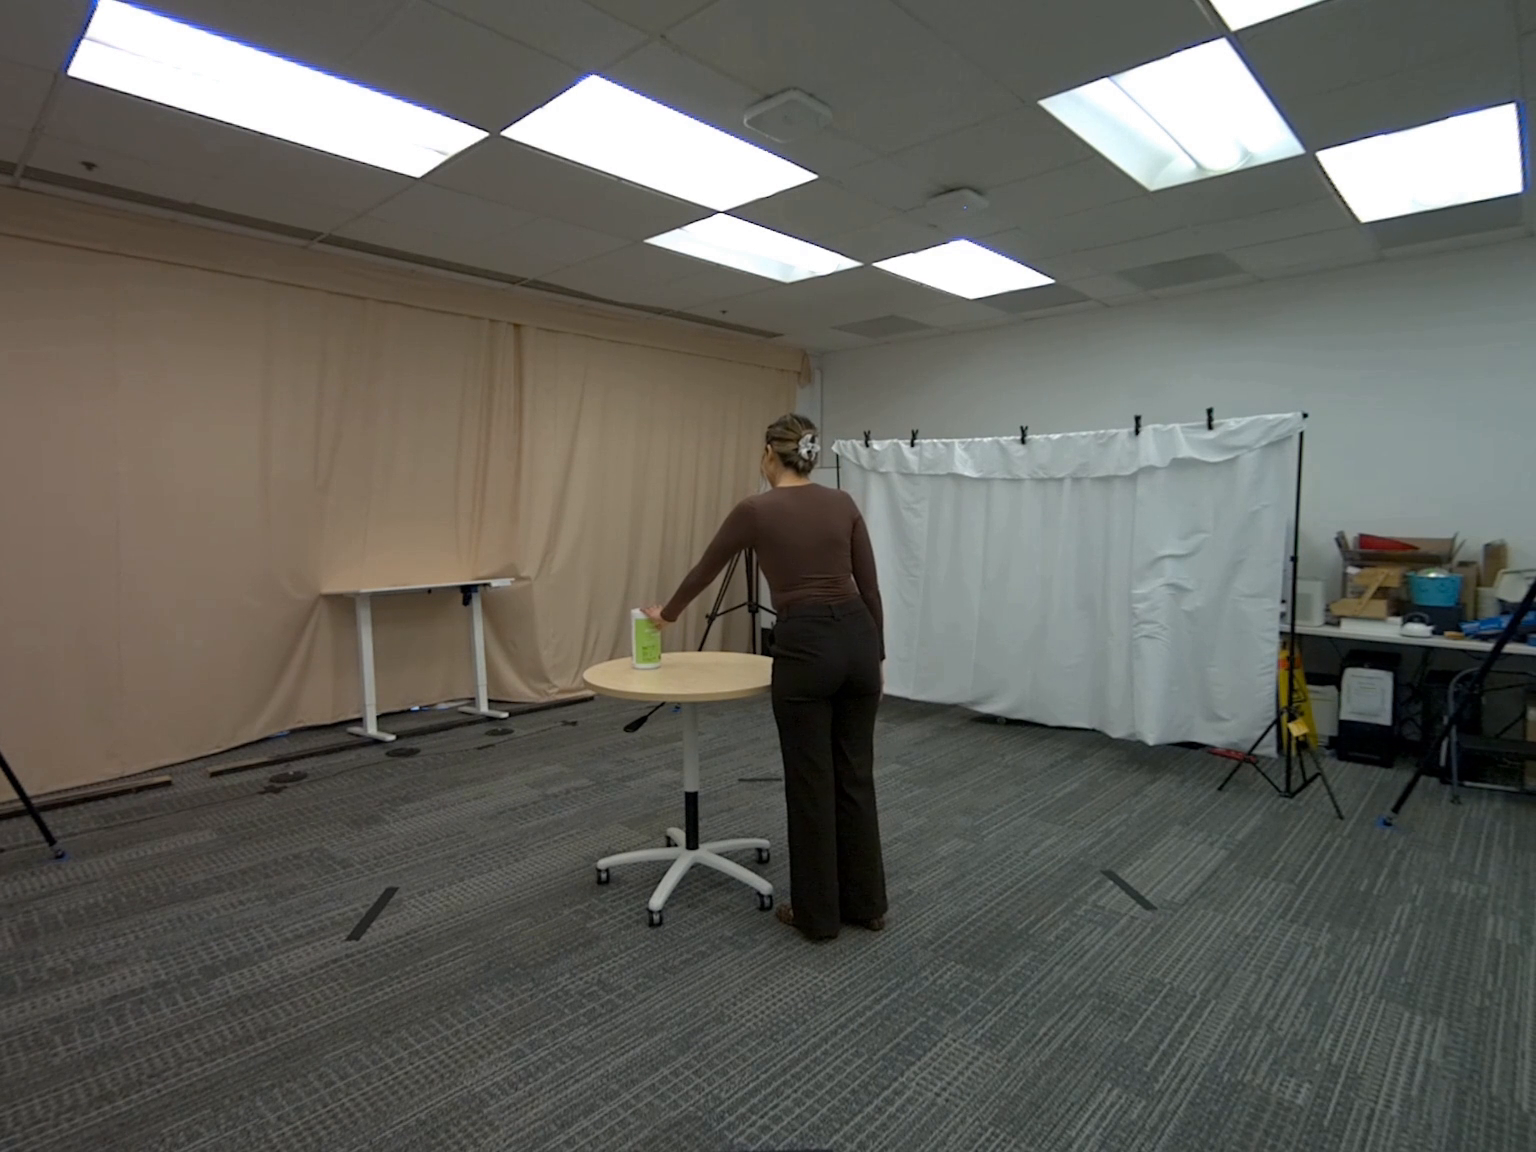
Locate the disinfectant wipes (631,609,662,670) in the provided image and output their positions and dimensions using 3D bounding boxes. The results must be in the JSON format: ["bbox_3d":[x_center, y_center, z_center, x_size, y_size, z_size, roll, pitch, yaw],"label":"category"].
[{"bbox_3d":[-0.457,0.233,3.131,0.118,0.217,0.118,1,3,-2],"label":"disinfectant wipes"}]
